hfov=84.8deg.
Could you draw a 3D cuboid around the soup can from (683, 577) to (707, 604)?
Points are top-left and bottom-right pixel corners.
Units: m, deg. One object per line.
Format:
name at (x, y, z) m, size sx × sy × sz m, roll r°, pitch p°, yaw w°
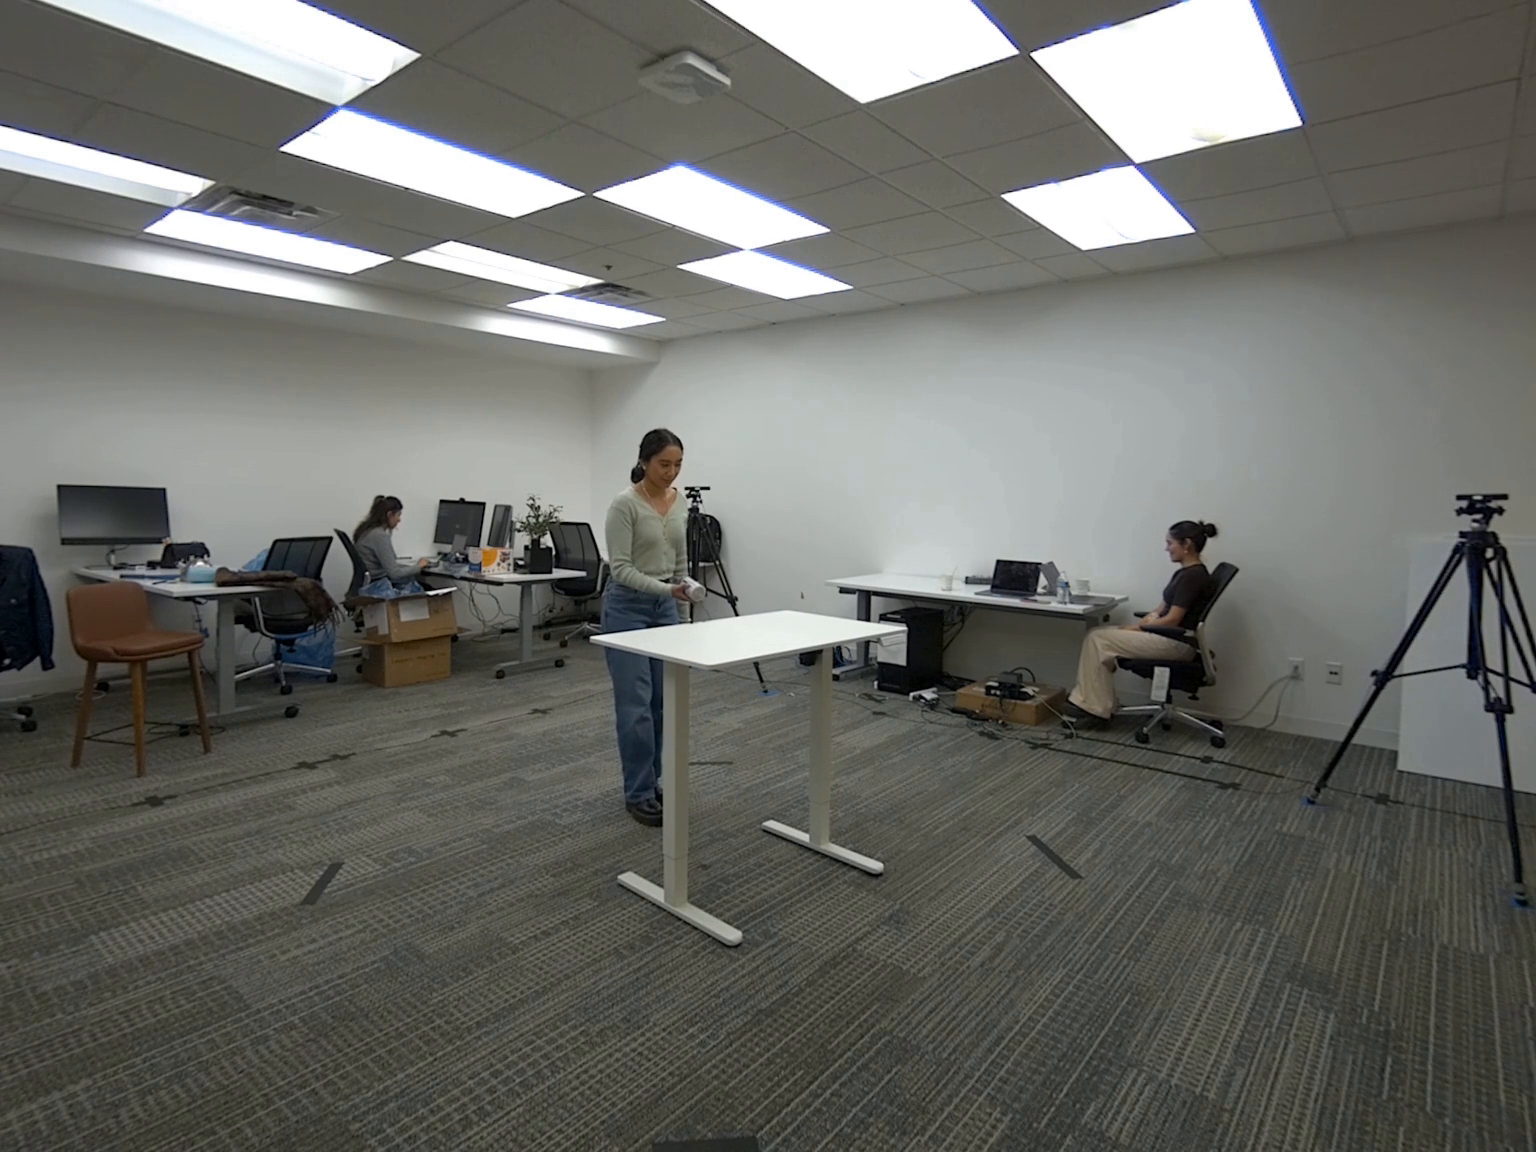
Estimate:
soup can at (-0.307, 0.046, 3.347) m, size 0.065 × 0.066 × 0.126 m, roll -1°, pitch 15°, yaw -26°
